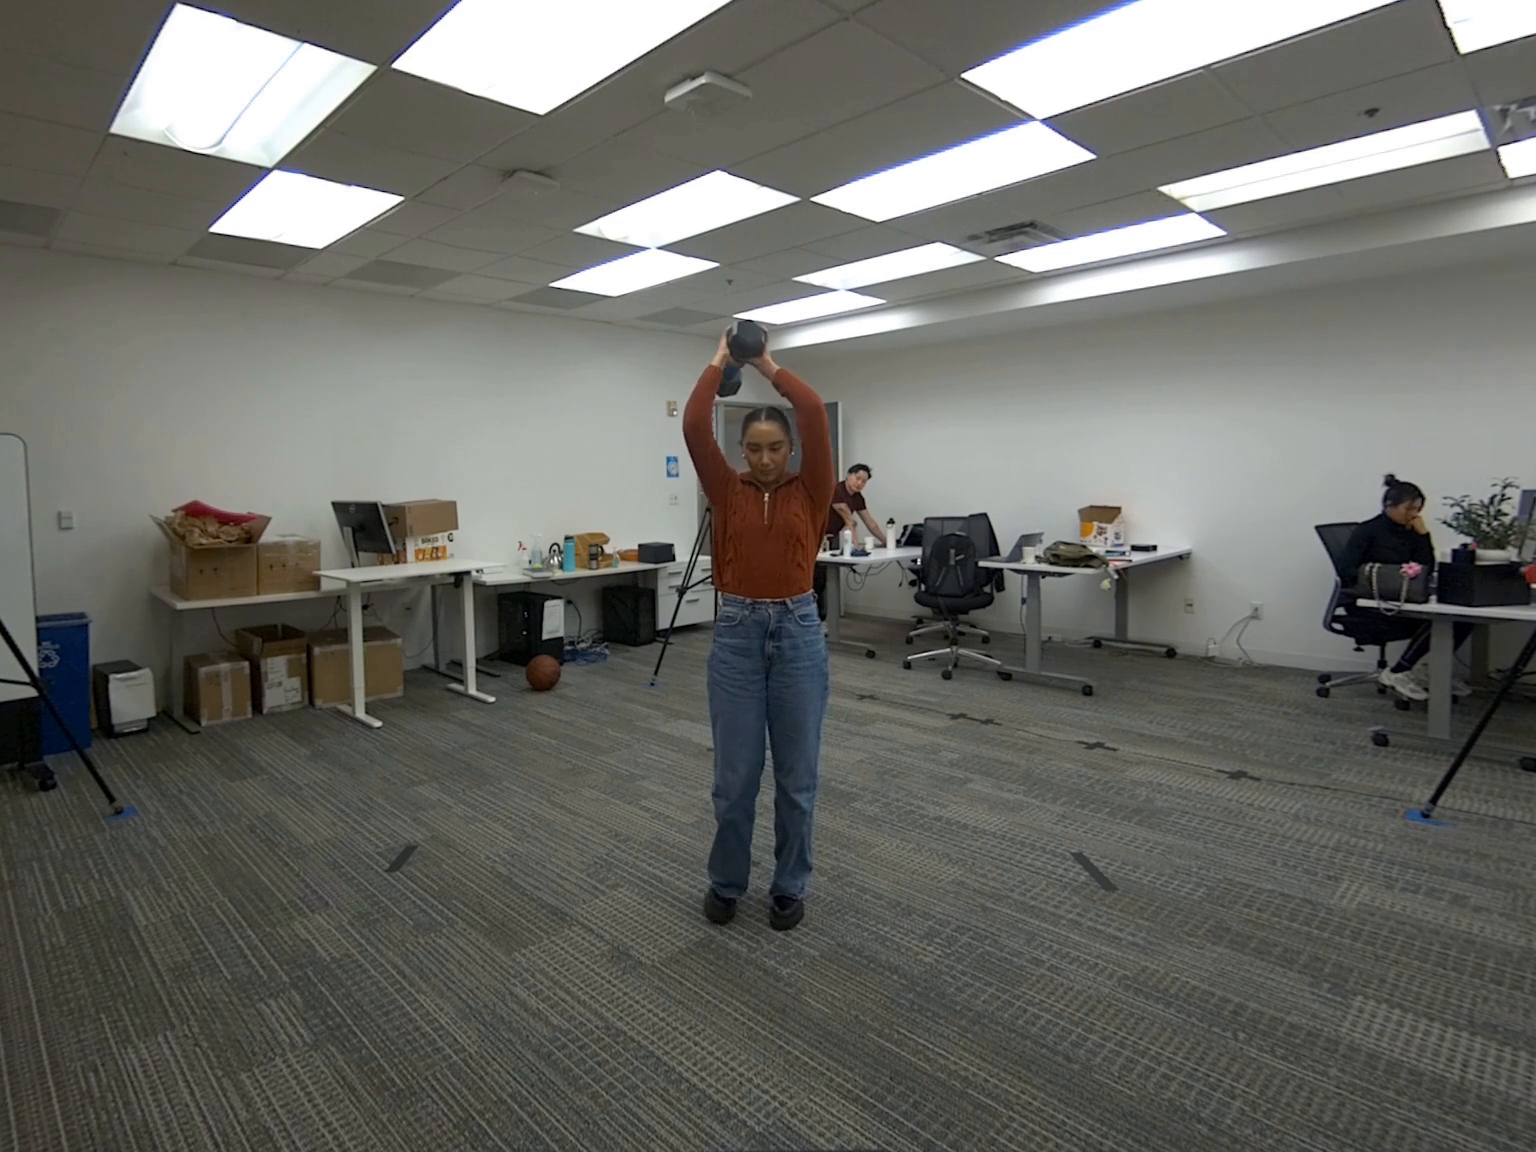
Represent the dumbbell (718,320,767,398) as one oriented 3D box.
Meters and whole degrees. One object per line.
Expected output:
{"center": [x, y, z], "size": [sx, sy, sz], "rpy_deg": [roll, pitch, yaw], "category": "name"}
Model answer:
{"center": [-0.110, -0.706, 2.818], "size": [0.107, 0.125, 0.292], "rpy_deg": [12, -29, -15], "category": "dumbbell"}
